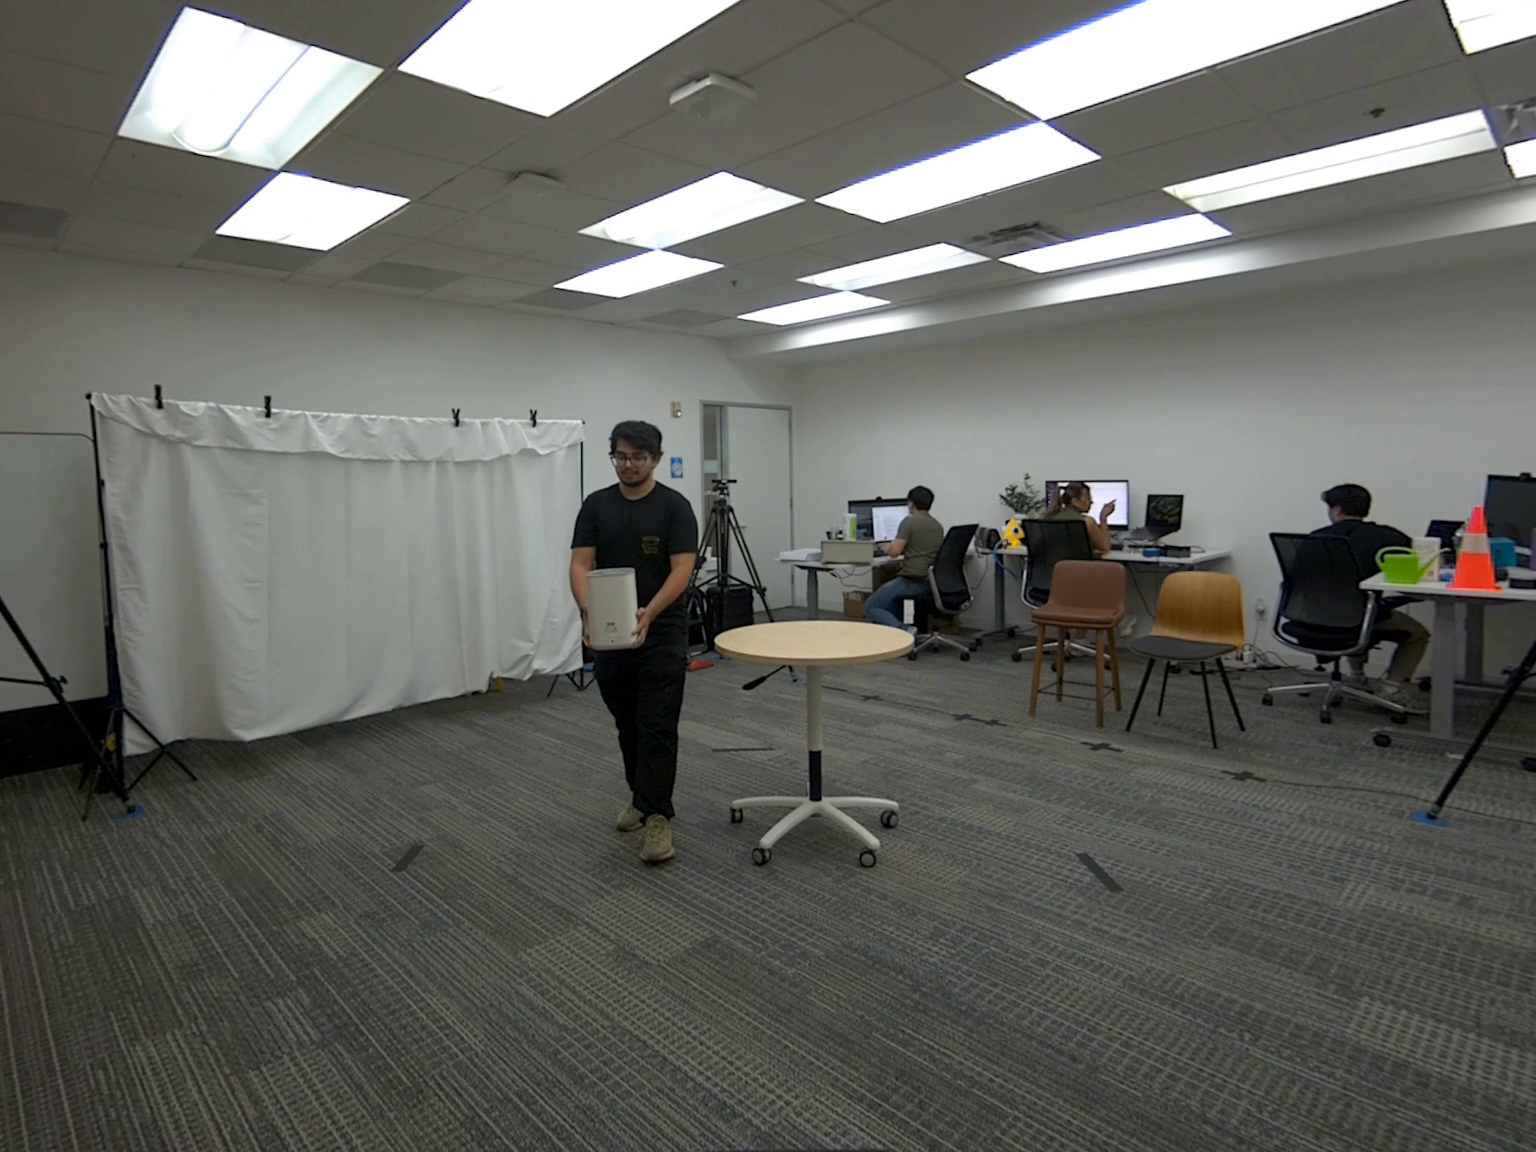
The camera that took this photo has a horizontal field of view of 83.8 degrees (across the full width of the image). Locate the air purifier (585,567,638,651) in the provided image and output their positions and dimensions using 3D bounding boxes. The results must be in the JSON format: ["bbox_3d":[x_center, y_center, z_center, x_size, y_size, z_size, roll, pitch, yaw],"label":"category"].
[{"bbox_3d":[-0.555,0.114,3.014,0.170,0.264,0.173,-3,5,-5],"label":"air purifier"}]
